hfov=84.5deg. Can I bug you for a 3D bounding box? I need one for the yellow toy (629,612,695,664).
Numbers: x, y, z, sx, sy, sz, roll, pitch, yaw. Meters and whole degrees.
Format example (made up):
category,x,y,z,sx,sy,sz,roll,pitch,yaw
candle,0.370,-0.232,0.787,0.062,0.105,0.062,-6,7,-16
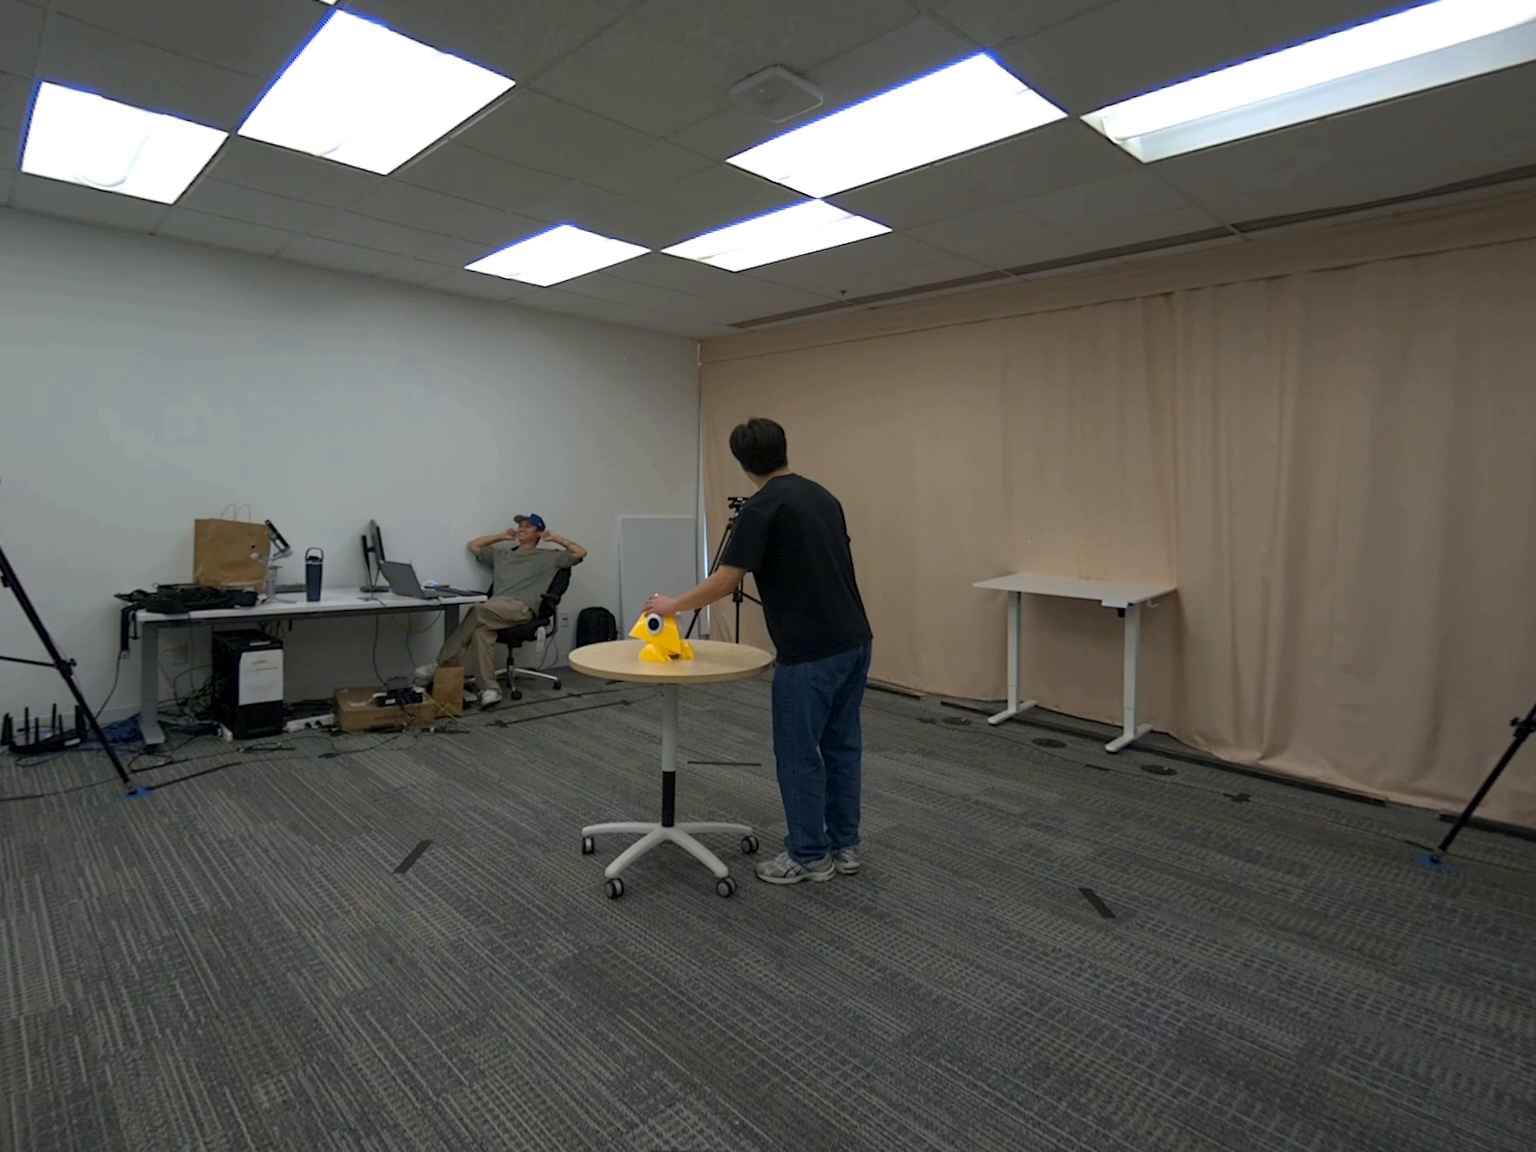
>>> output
category,x,y,z,sx,sy,sz,roll,pitch,yaw
yellow toy,-0.386,0.188,3.141,0.200,0.230,0.198,-2,4,-43
